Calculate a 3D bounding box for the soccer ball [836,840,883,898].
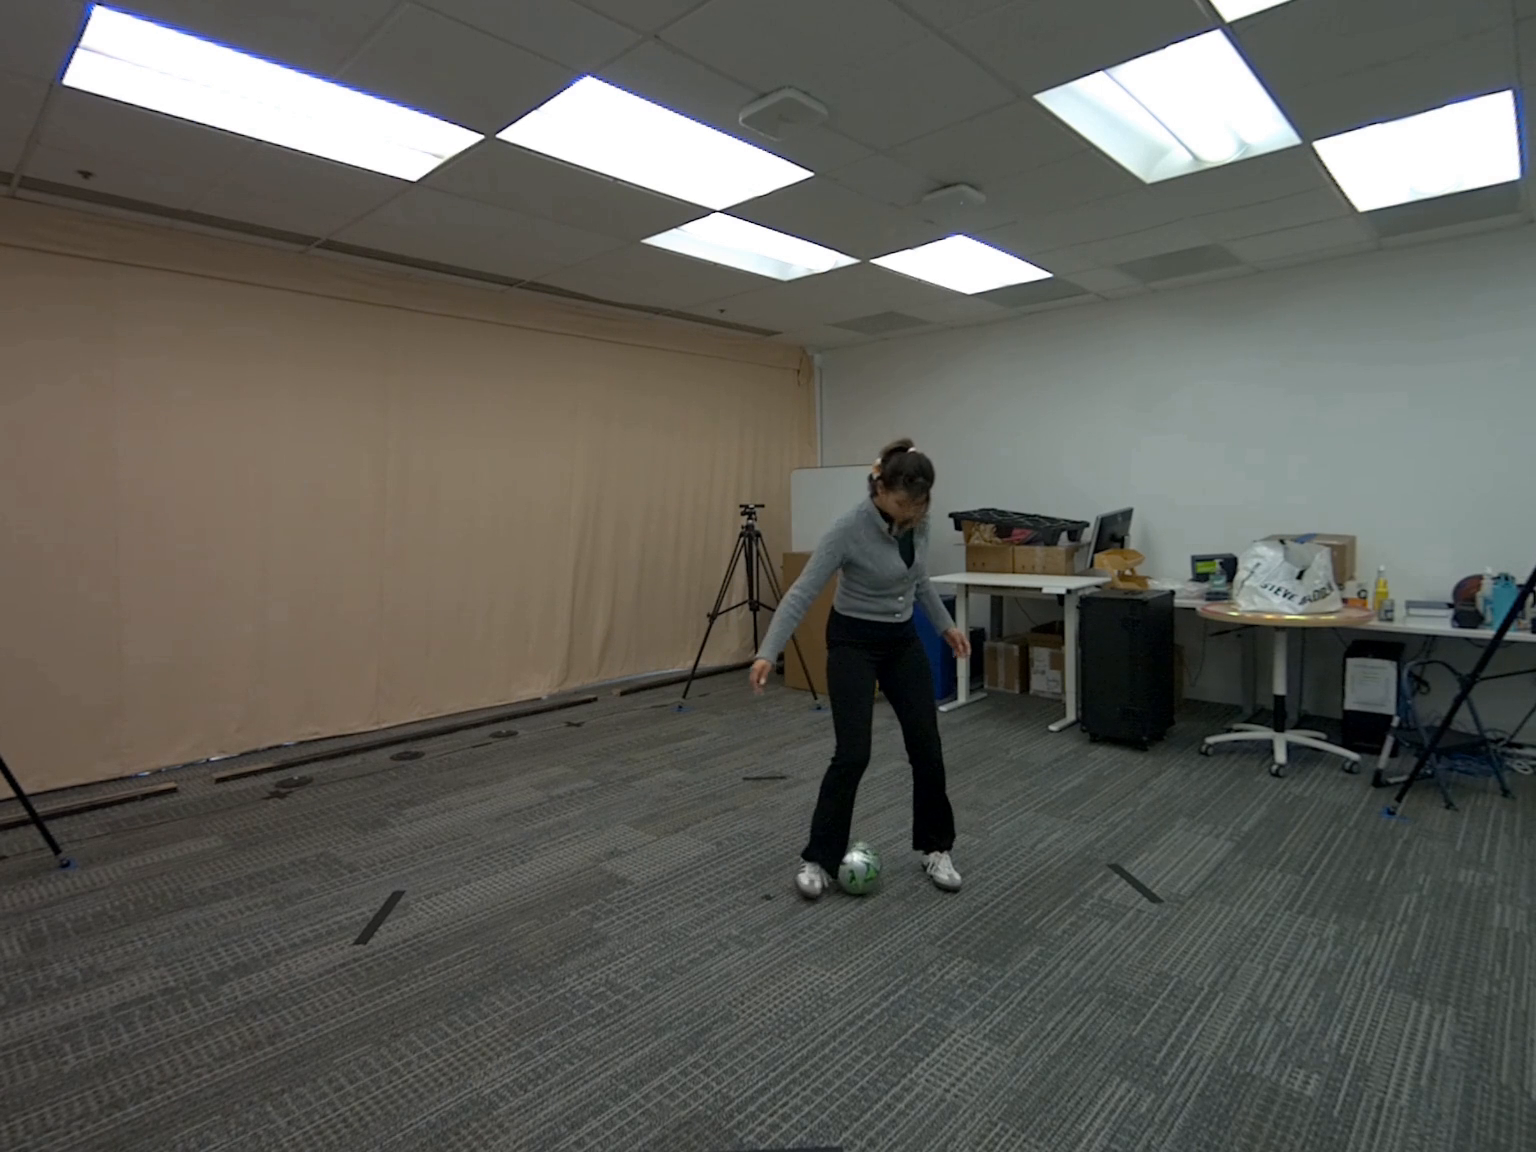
[{"bbox_3d":[0.361,1.036,3.006,0.187,0.187,0.188,-1,4,-2],"label":"soccer ball"}]
